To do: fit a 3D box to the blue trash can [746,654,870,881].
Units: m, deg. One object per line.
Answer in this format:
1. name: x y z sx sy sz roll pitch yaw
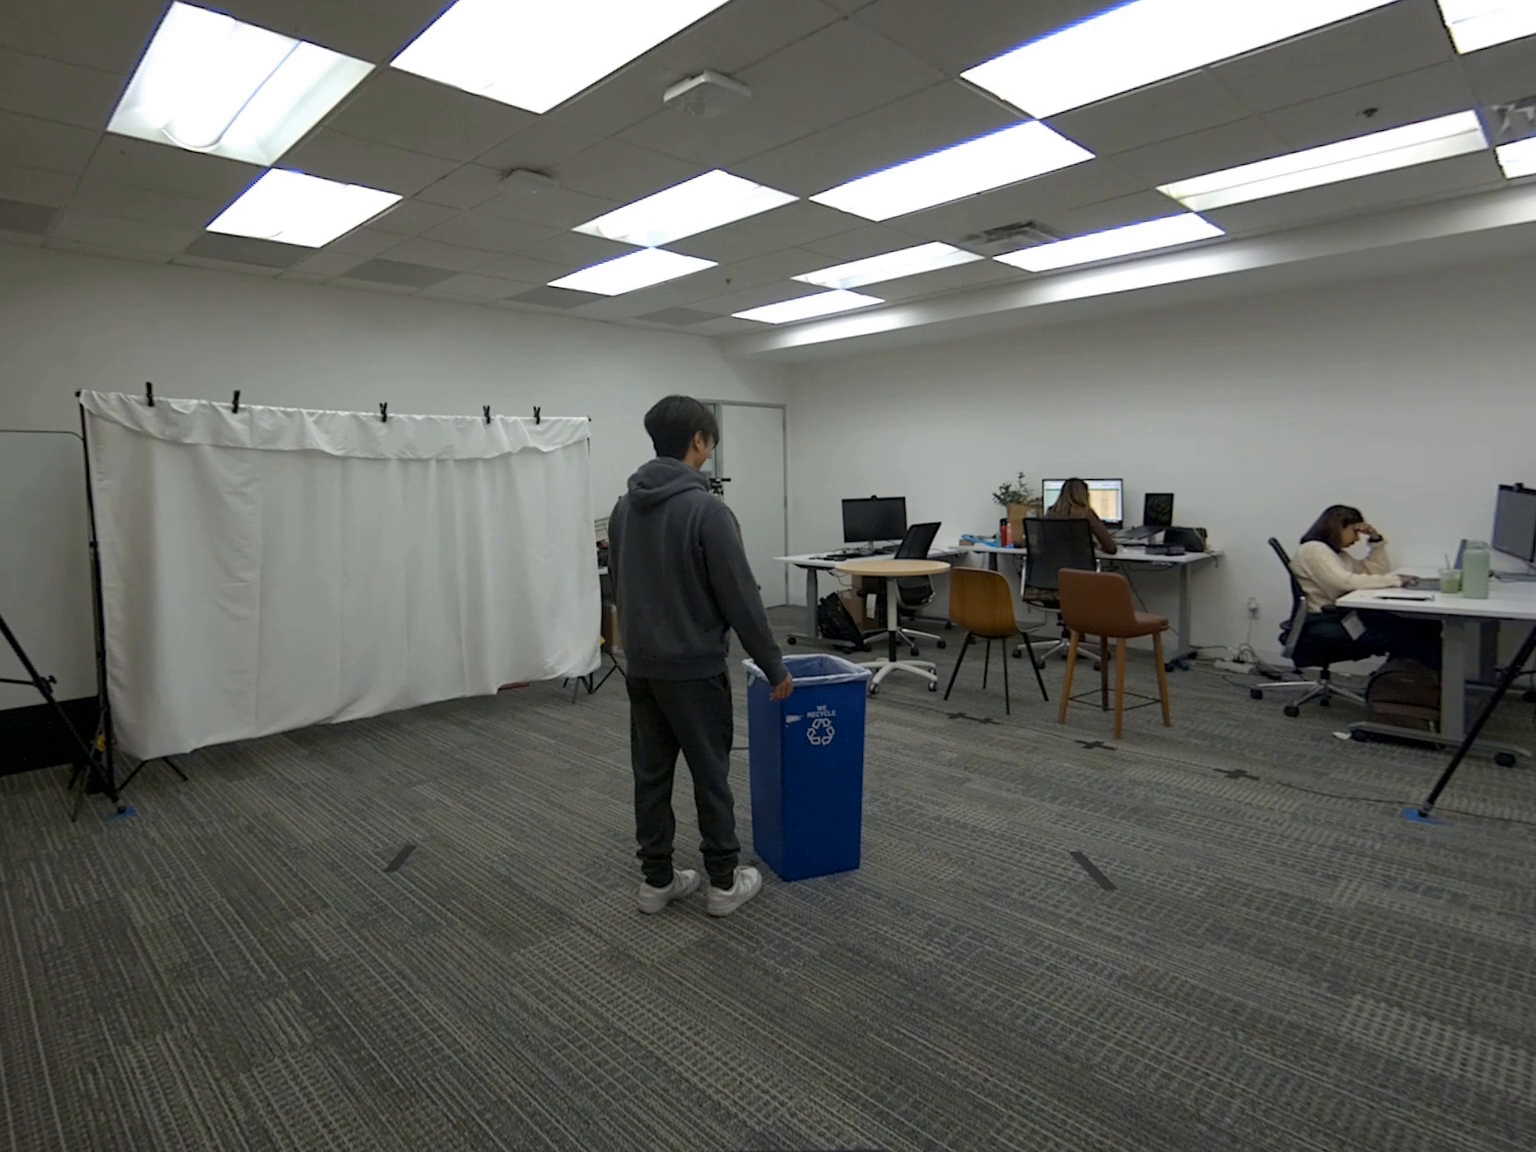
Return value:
1. blue trash can: 0.141 0.679 3.121 0.367 0.711 0.387 -3 5 -22
